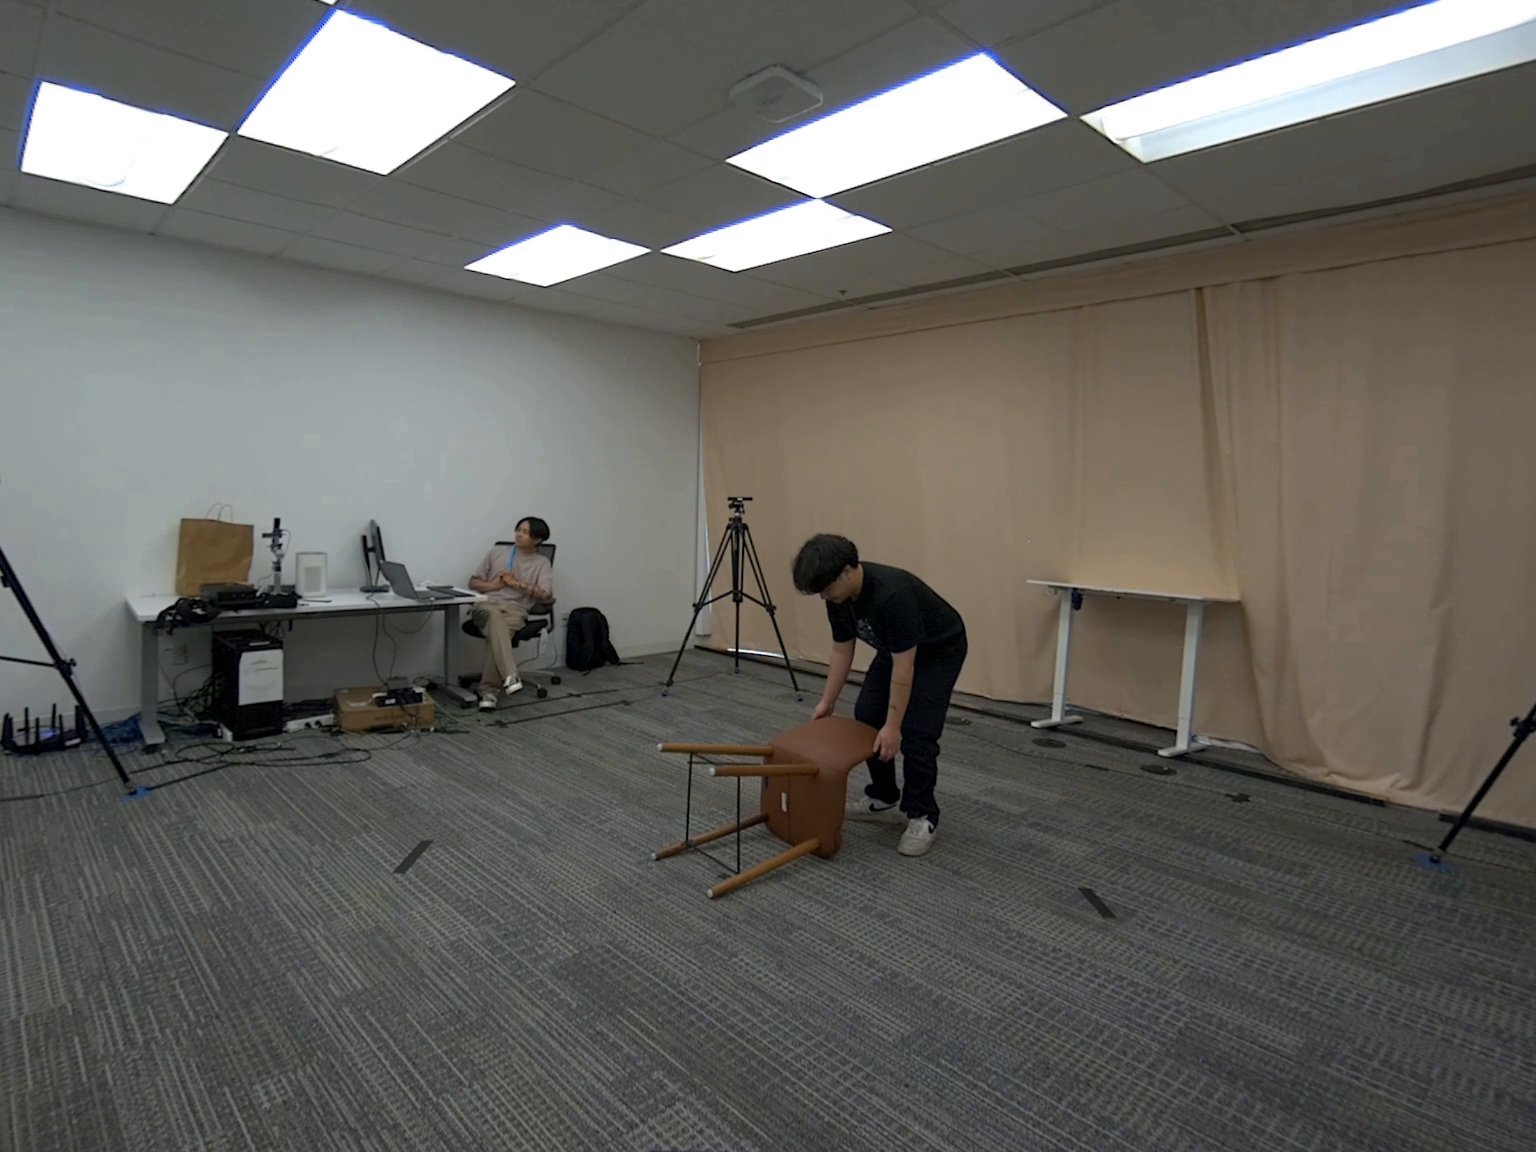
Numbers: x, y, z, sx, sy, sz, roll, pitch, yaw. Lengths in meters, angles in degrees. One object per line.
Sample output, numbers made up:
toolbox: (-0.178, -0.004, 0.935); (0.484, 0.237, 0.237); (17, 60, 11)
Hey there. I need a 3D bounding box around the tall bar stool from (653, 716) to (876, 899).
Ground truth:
tall bar stool: (0.018, 0.867, 3.321); (0.870, 0.466, 0.468); (-3, 5, -38)
